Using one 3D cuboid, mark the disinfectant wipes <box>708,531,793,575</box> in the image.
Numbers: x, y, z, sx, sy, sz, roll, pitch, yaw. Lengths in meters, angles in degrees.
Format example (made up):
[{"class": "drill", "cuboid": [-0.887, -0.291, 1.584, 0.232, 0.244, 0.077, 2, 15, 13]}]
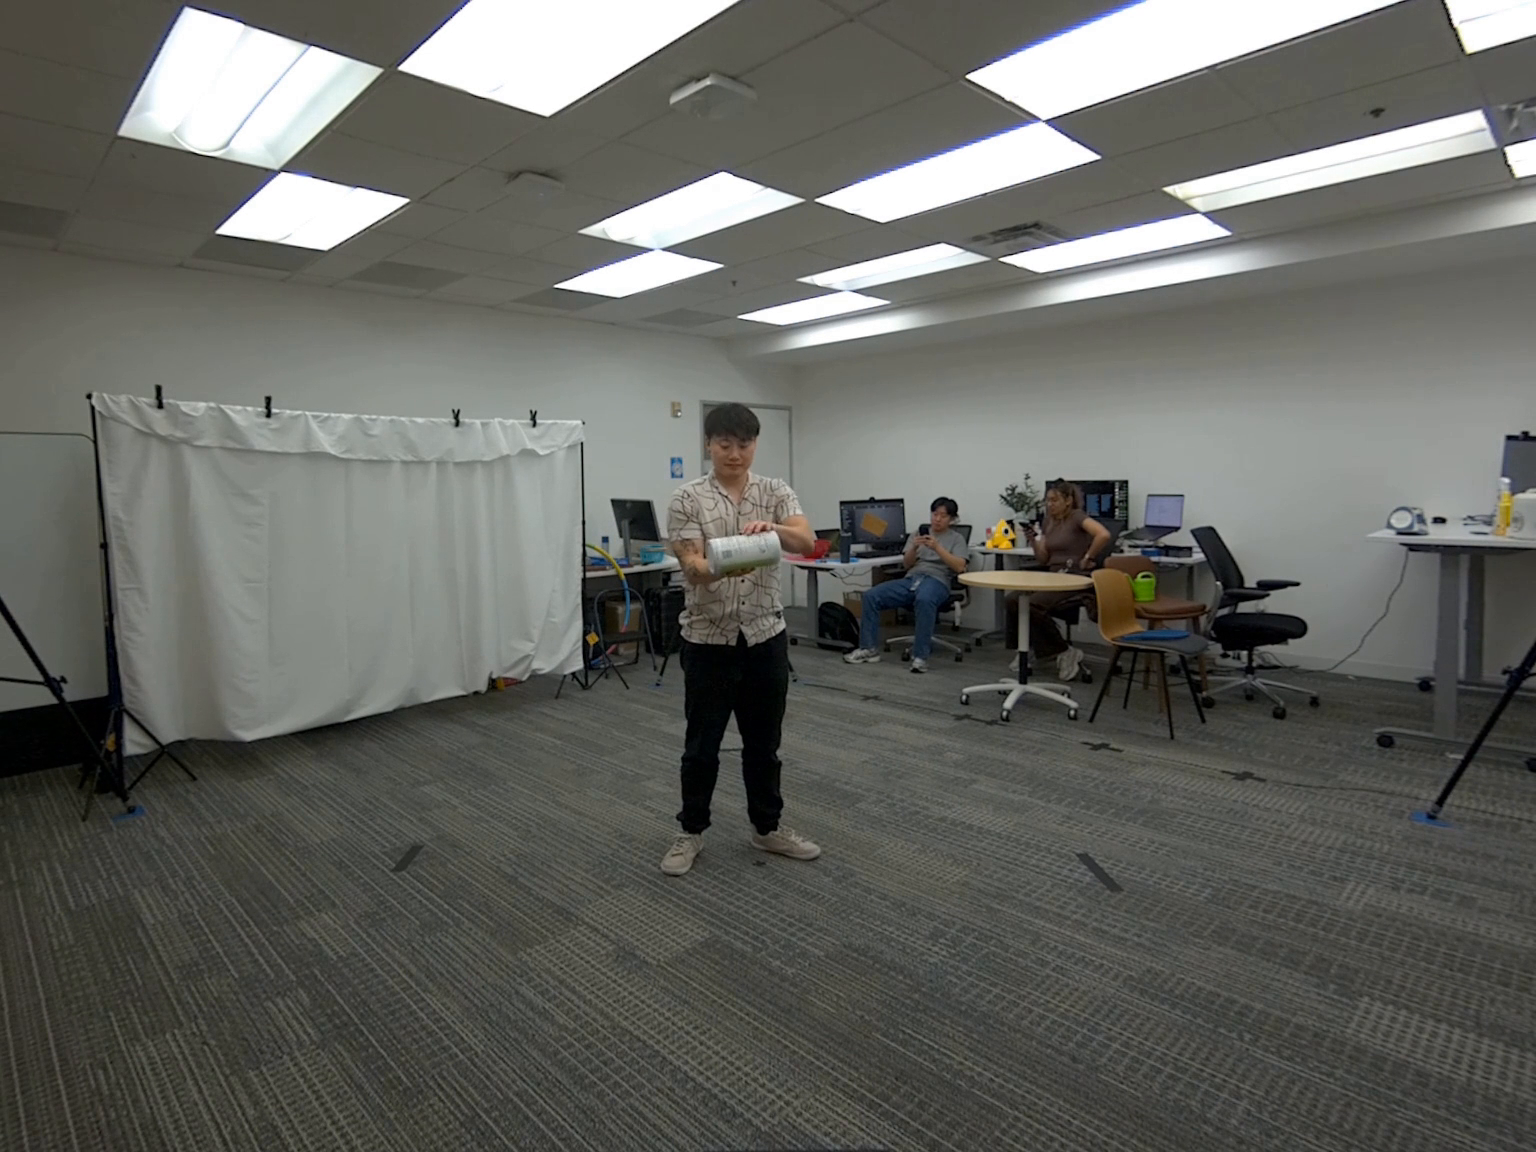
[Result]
[{"class": "disinfectant wipes", "cuboid": [-0.056, -0.079, 2.637, 0.215, 0.117, 0.120, -12, 8, -16]}]
